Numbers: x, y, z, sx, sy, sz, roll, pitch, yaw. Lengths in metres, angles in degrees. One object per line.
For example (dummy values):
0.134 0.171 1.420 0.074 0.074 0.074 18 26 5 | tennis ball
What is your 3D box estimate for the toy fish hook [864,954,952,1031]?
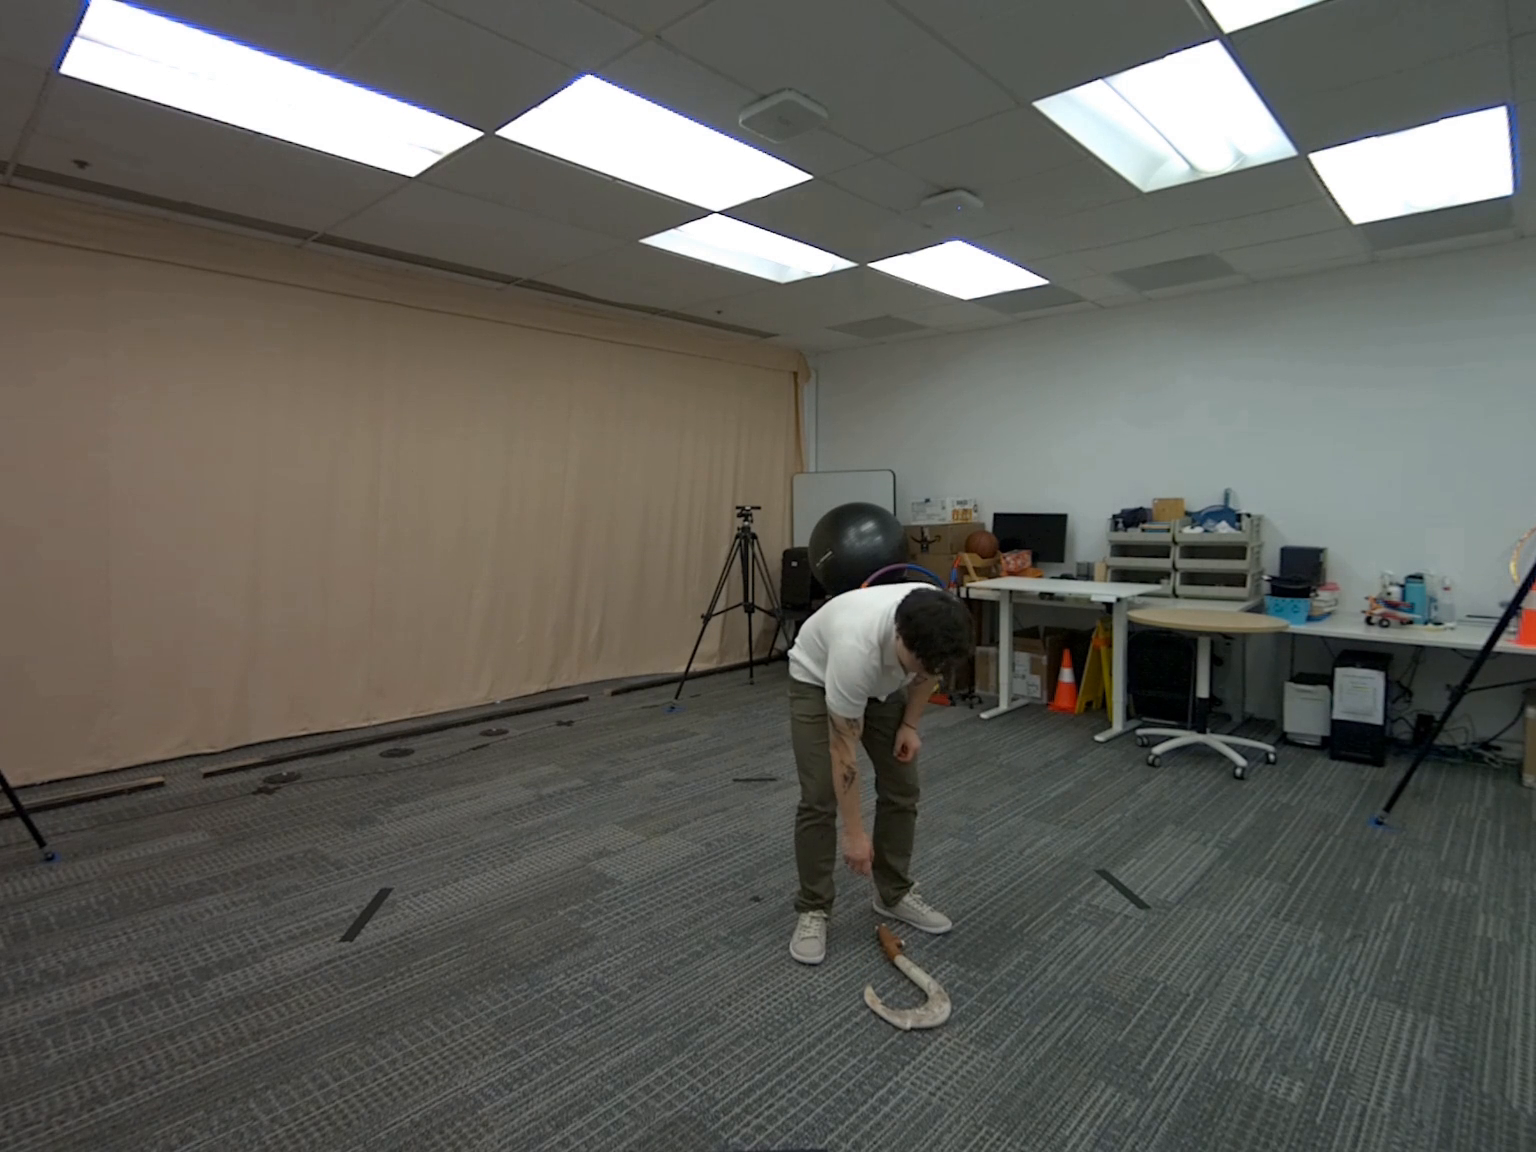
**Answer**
0.363 1.159 2.476 0.222 0.048 0.512 0 4 -10 | toy fish hook
